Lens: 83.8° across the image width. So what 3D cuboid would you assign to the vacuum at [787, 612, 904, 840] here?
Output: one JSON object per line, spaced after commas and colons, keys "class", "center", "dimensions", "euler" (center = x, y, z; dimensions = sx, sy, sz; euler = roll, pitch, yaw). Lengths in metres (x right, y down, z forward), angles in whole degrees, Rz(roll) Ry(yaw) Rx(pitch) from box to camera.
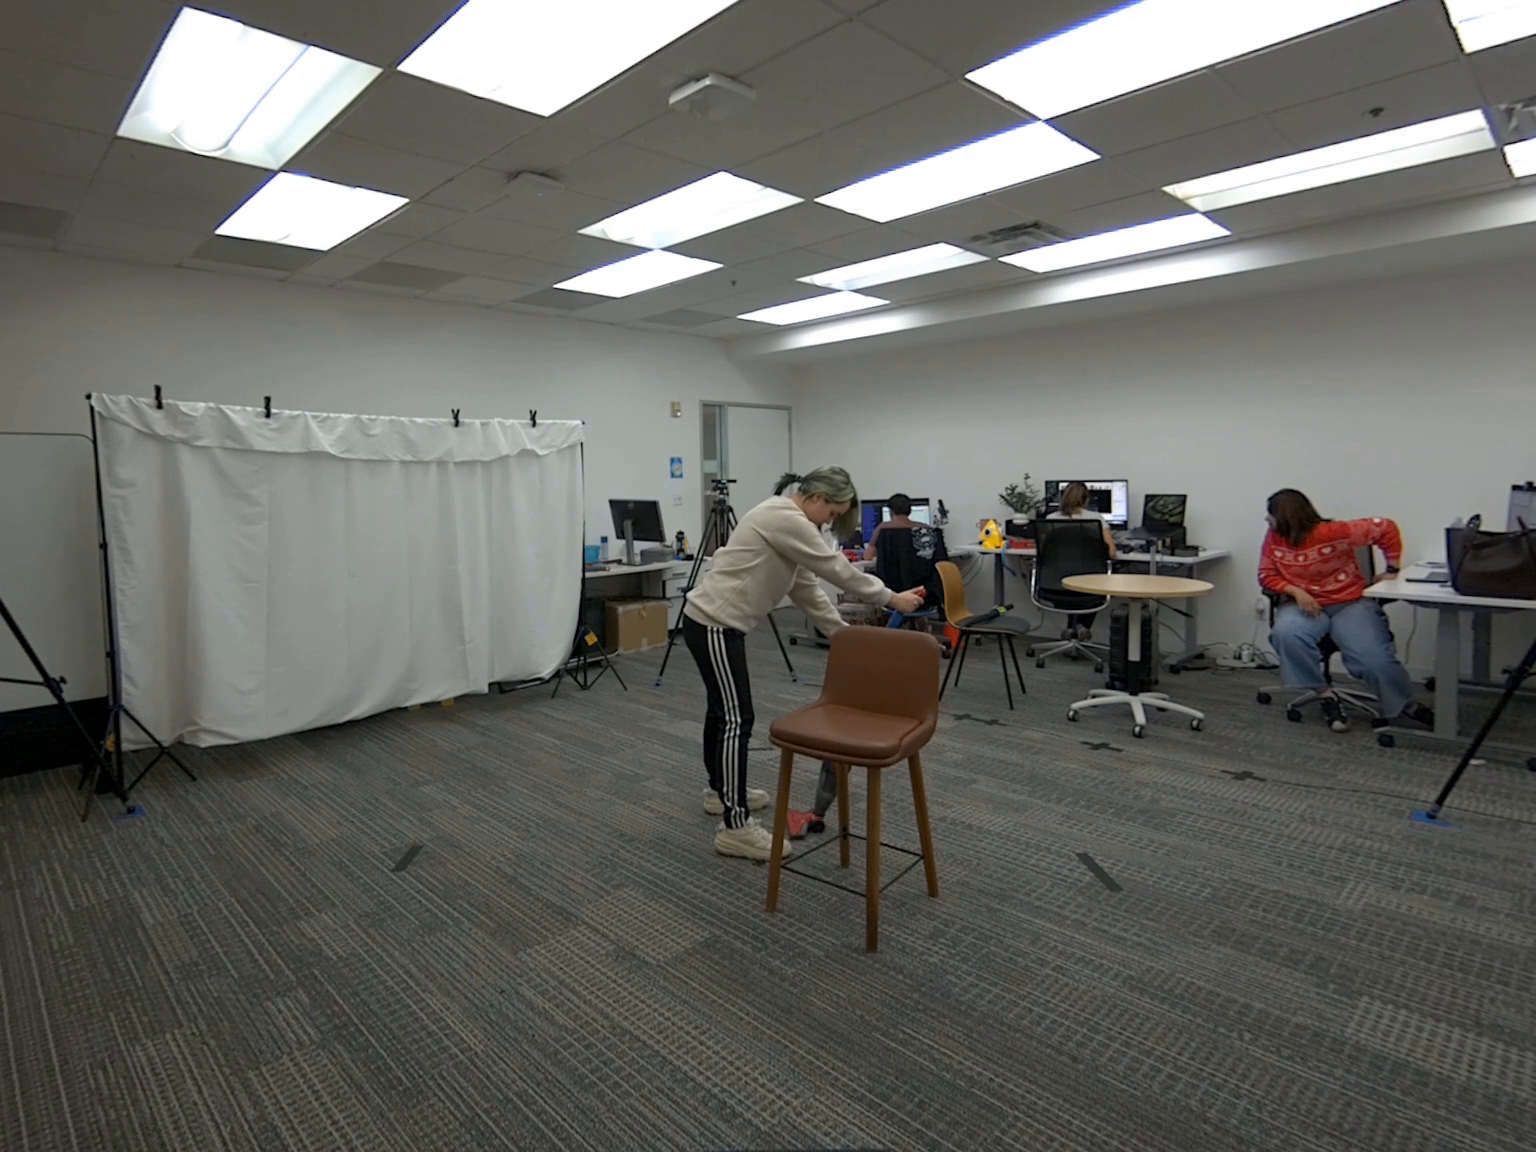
{"class": "vacuum", "center": [0.382, 0.535, 3.409], "dimensions": [0.141, 1.048, 0.257], "euler": [26, 2, -15]}
